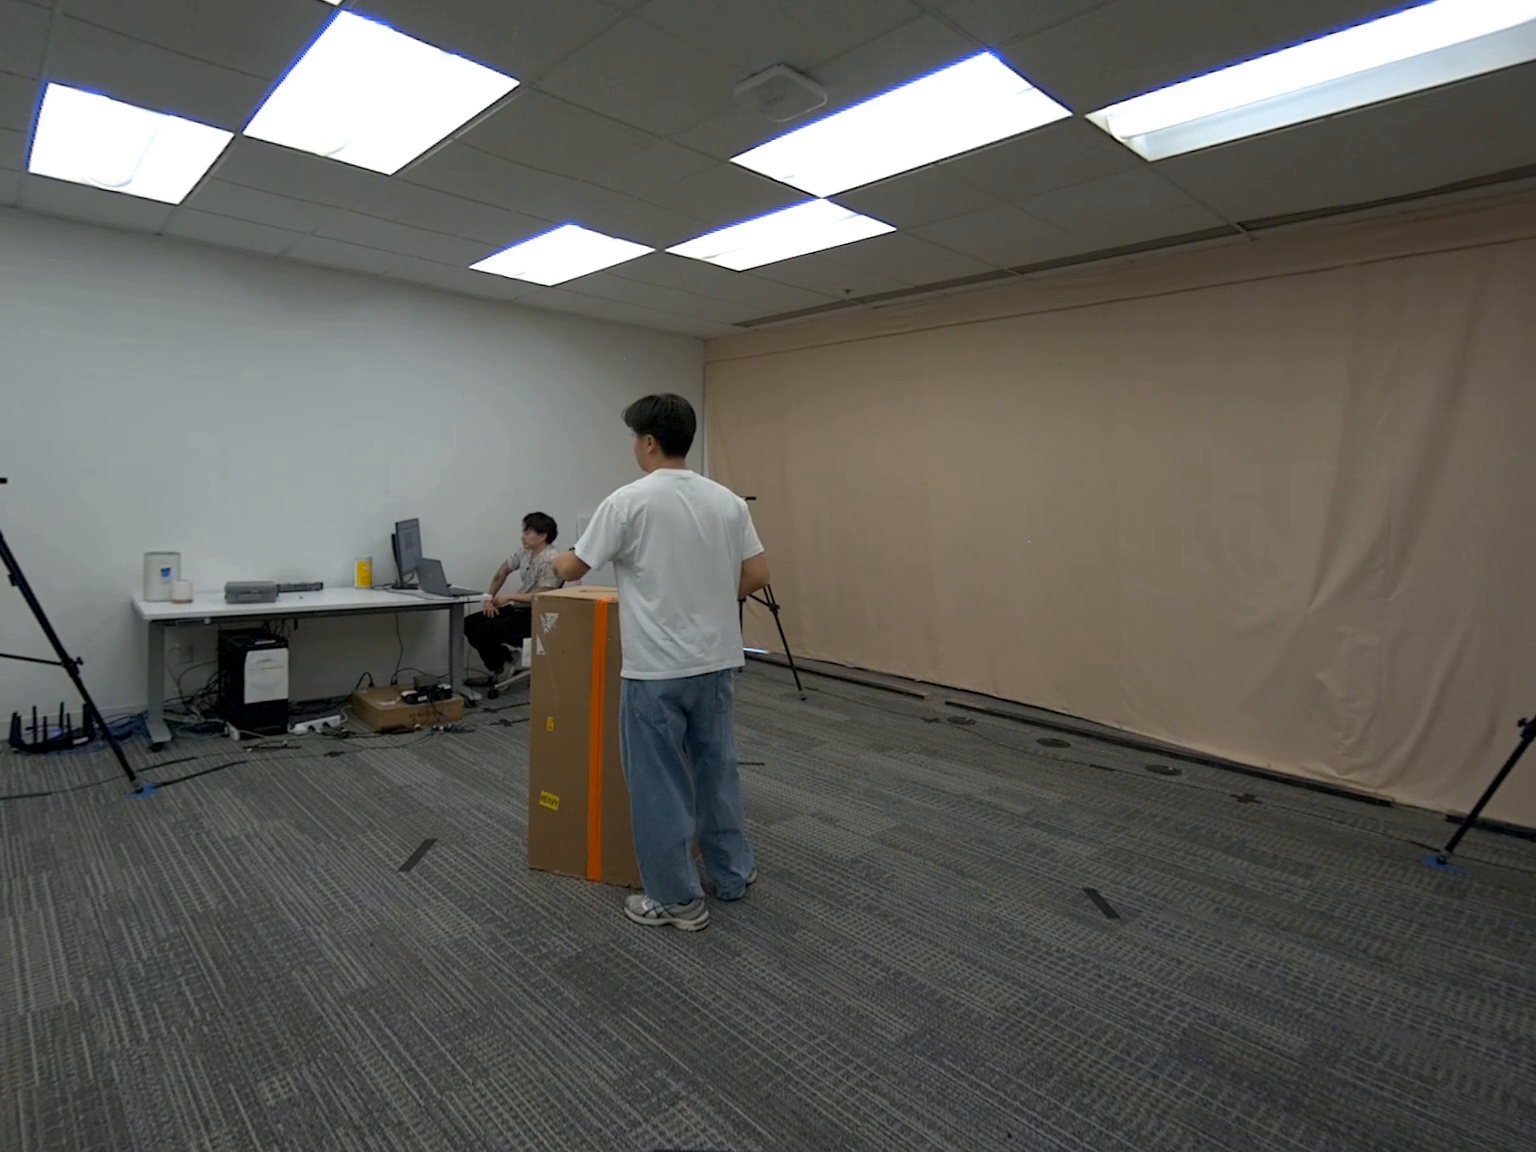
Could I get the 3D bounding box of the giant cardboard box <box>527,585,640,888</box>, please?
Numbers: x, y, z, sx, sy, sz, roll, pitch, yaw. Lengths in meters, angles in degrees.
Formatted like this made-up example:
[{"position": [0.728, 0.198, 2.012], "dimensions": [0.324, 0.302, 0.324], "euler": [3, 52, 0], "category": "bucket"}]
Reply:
[{"position": [-0.554, 0.575, 3.213], "dimensions": [0.586, 1.023, 0.421], "euler": [3, 4, 18], "category": "giant cardboard box"}]
